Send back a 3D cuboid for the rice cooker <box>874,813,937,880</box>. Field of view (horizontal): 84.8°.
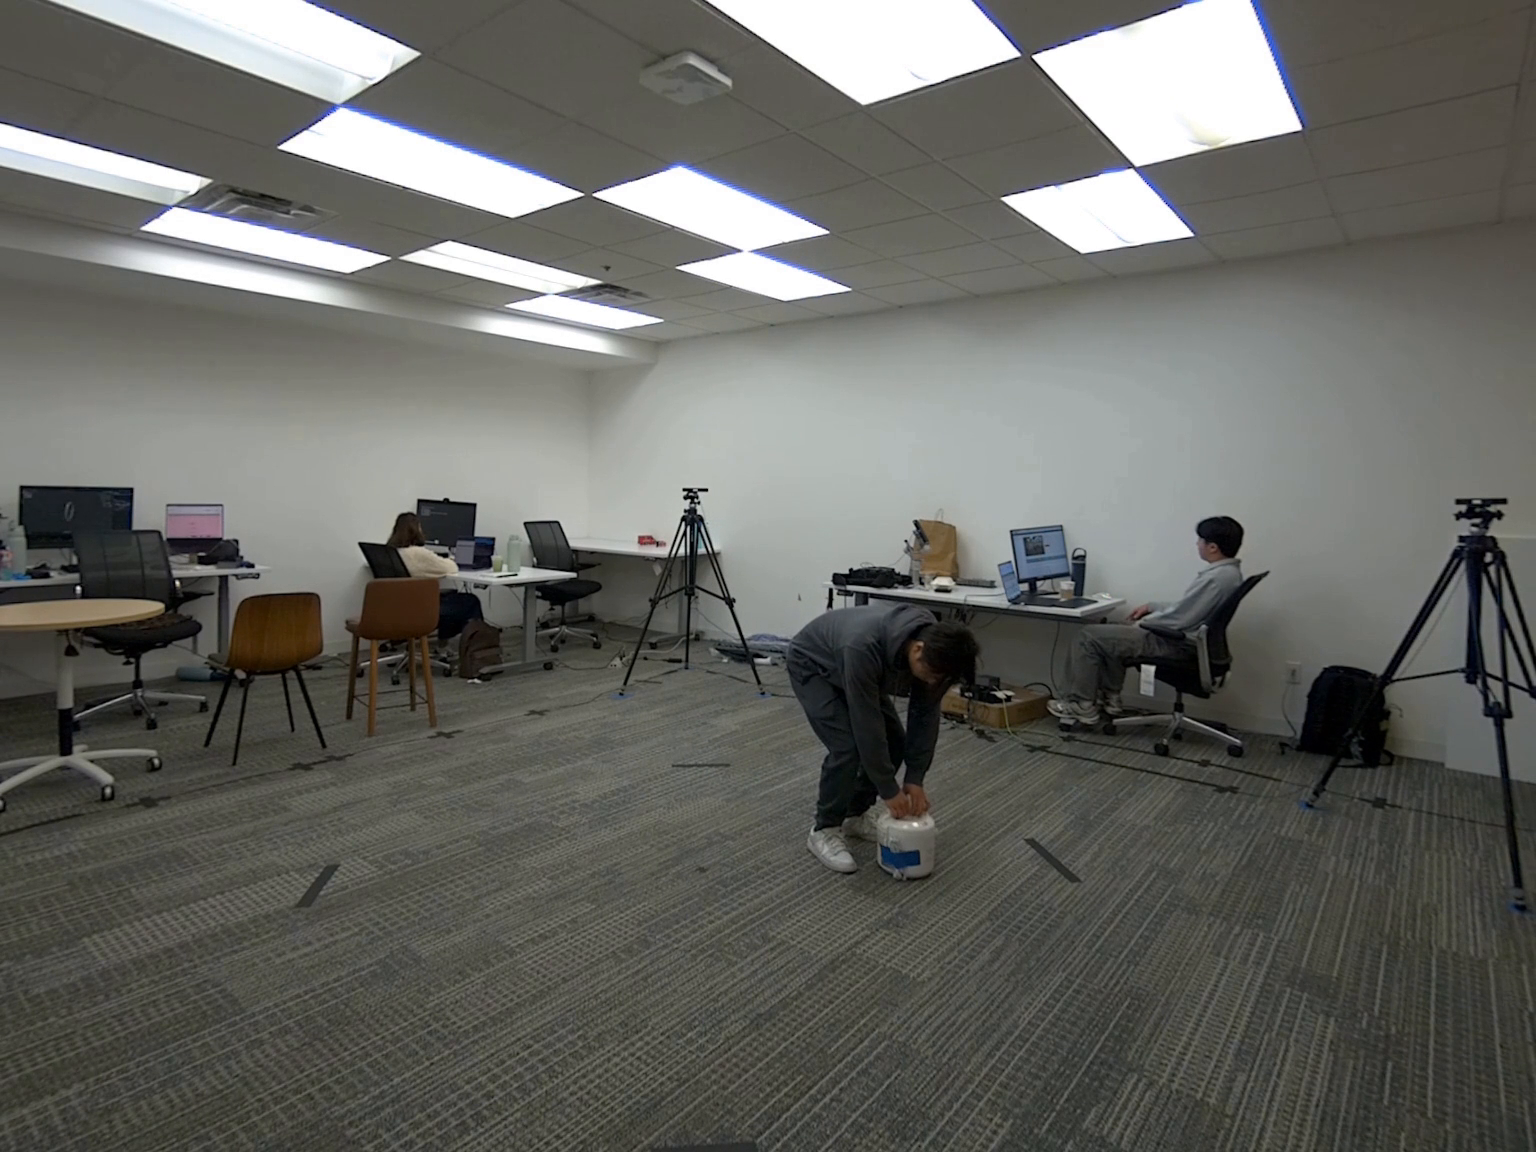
[{"bbox_3d":[0.501,0.966,3.155,0.216,0.232,0.223,0,6,-20],"label":"rice cooker"}]
